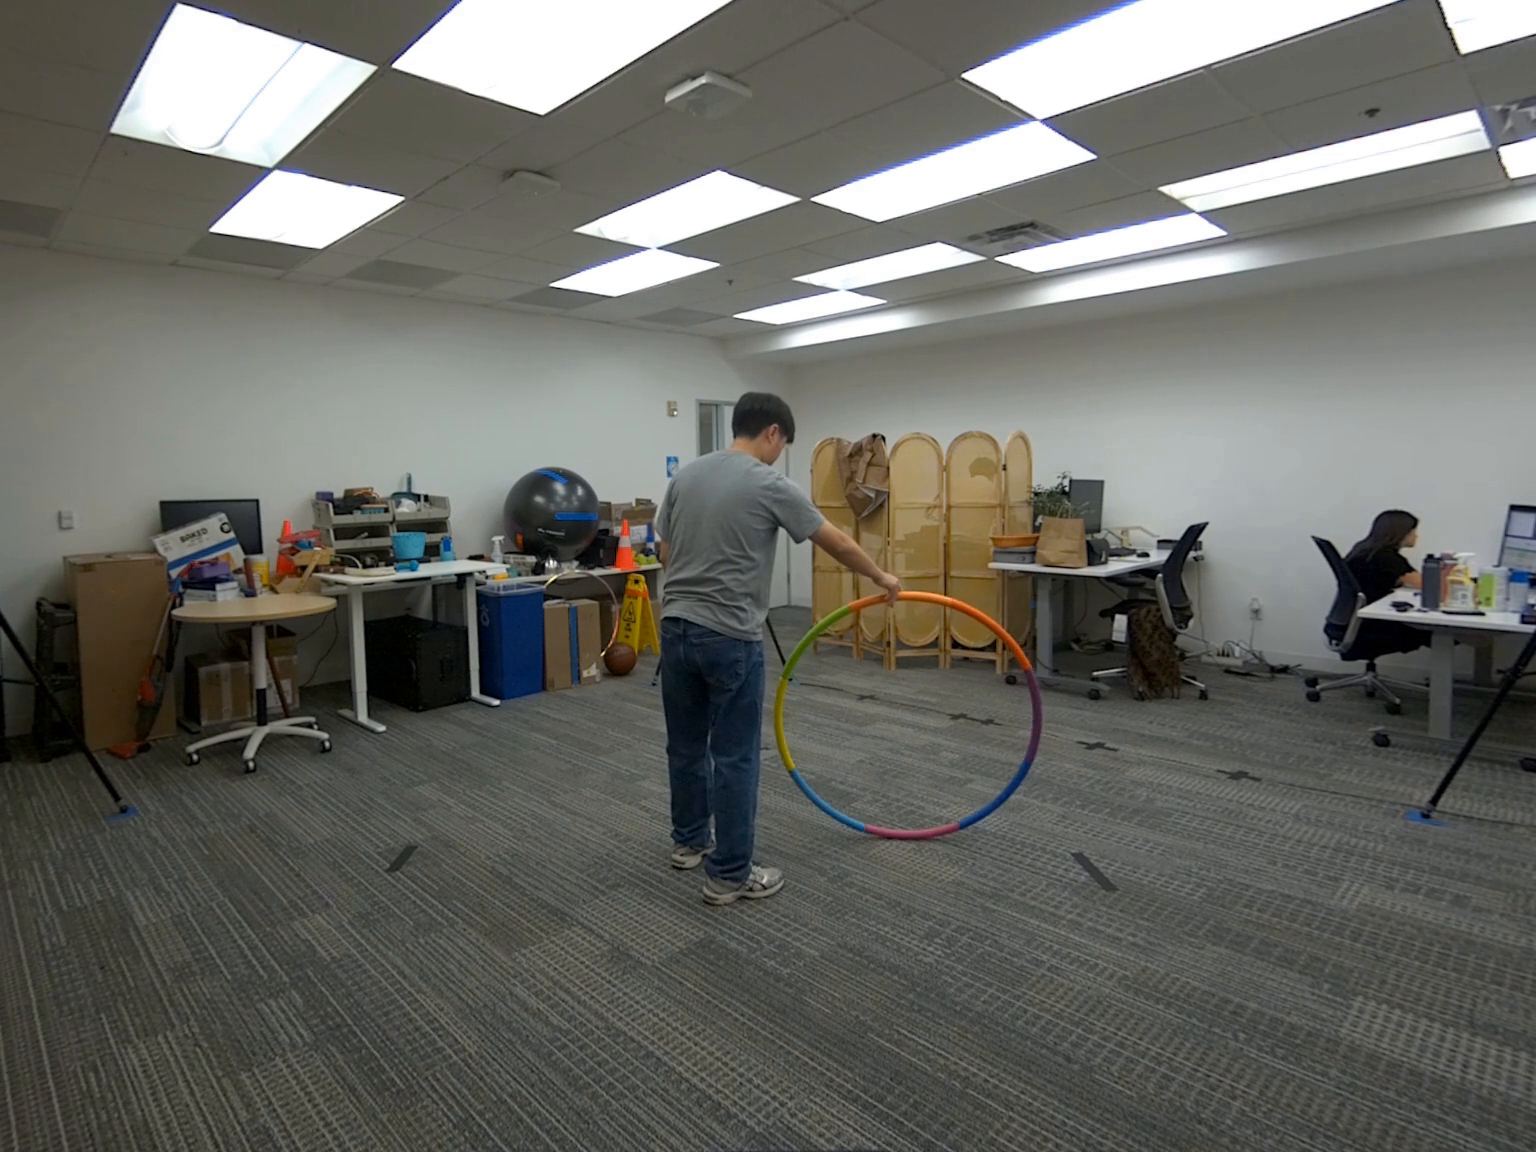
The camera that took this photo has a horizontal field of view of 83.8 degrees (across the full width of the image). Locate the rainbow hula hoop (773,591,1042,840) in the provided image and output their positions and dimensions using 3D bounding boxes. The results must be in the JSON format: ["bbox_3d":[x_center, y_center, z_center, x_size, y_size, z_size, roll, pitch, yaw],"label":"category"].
[{"bbox_3d":[0.515,0.534,3.218,0.984,0.969,0.036,0,11,5],"label":"rainbow hula hoop"}]
